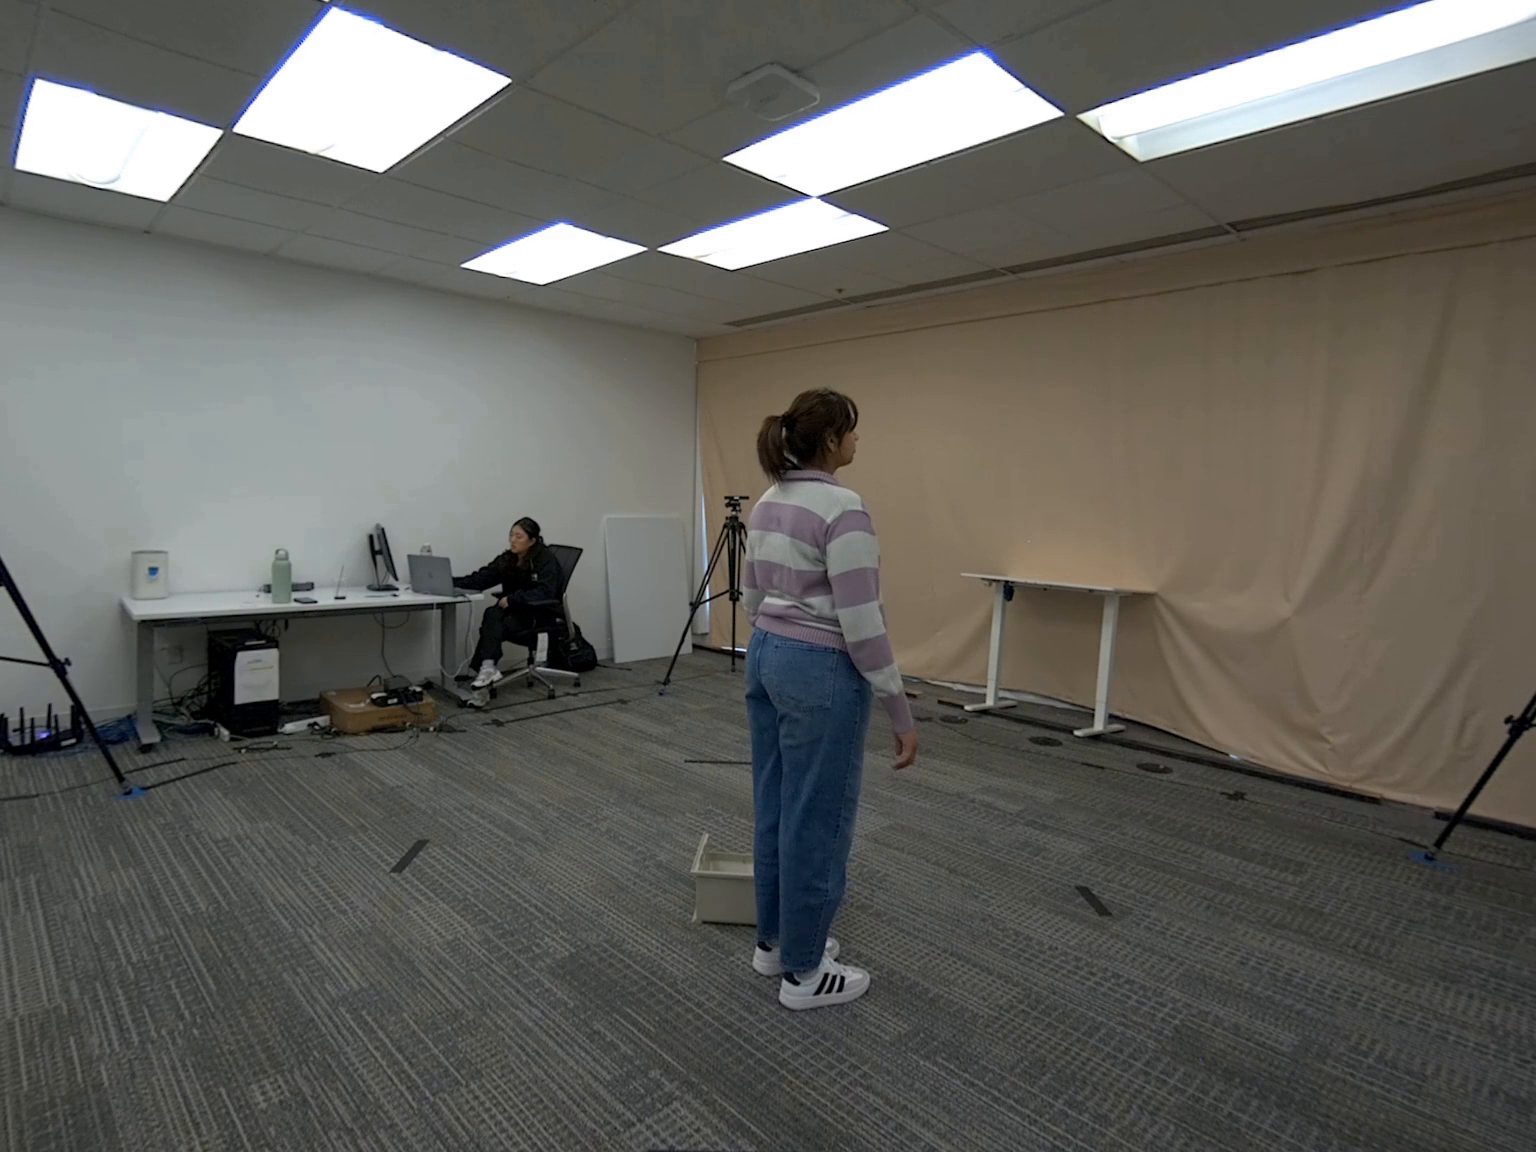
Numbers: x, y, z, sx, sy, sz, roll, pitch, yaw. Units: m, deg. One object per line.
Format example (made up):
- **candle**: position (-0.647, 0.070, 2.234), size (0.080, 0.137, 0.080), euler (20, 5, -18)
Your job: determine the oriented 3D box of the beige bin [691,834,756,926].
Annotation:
- **beige bin**: position (-0.037, 1.036, 2.893), size (0.424, 0.188, 0.377), euler (2, 6, 4)
